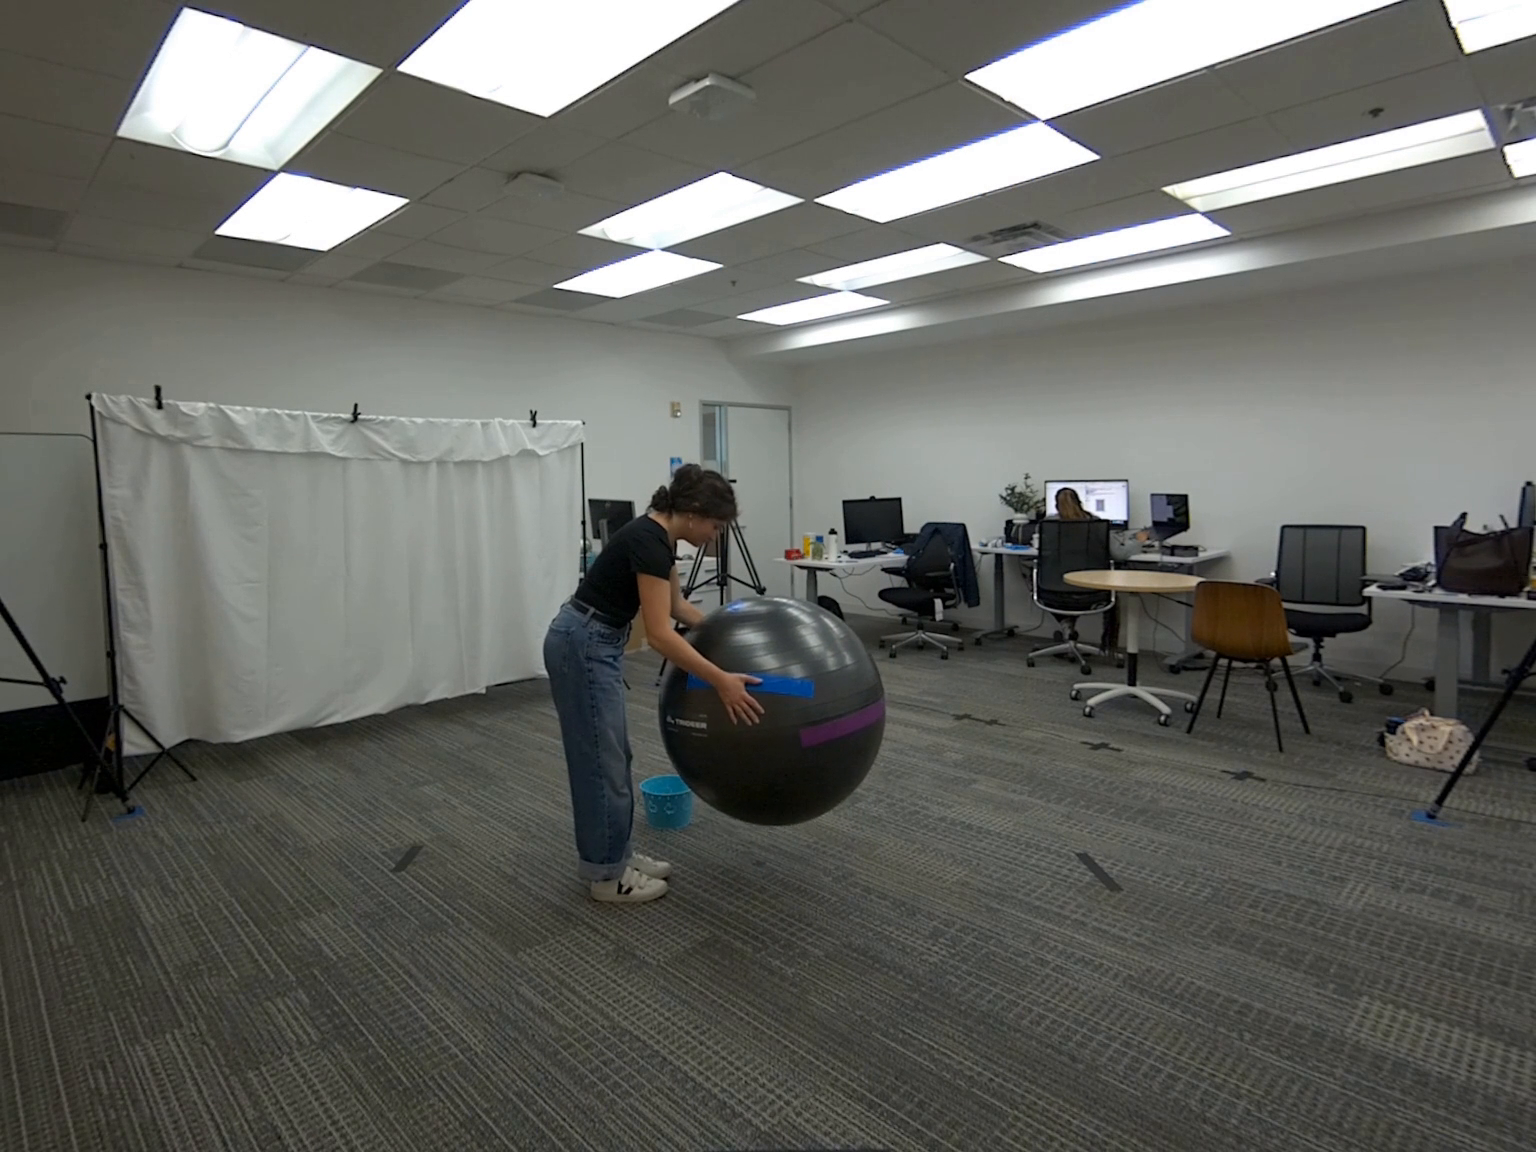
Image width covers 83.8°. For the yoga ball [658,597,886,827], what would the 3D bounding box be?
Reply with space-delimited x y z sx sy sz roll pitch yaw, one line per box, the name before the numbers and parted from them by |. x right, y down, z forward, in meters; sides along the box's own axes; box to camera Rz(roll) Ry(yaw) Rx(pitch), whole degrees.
yoga ball | 0.013 0.472 2.878 0.757 0.755 0.762 -1 5 -2
